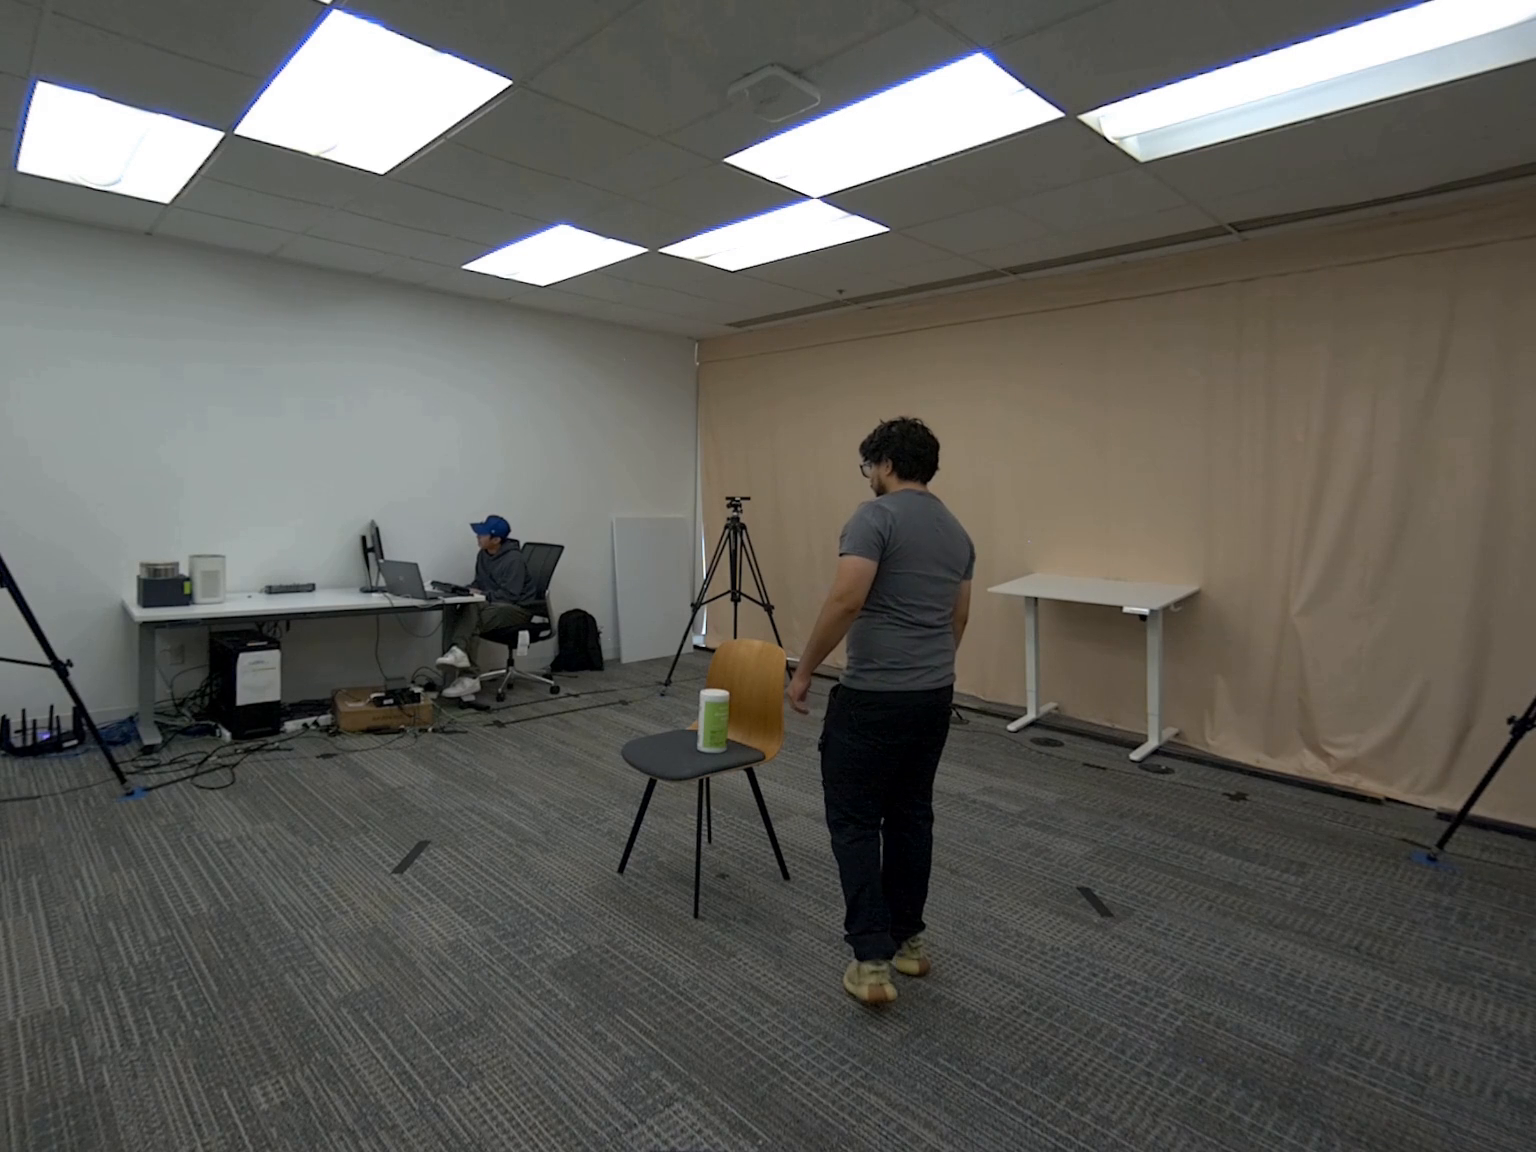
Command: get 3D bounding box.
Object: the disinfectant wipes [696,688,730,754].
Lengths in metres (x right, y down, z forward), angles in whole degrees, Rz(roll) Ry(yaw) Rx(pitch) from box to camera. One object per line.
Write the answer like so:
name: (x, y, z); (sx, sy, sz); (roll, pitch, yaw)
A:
disinfectant wipes: (-0.206, 0.529, 3.083); (0.118, 0.217, 0.118); (3, 3, -2)
